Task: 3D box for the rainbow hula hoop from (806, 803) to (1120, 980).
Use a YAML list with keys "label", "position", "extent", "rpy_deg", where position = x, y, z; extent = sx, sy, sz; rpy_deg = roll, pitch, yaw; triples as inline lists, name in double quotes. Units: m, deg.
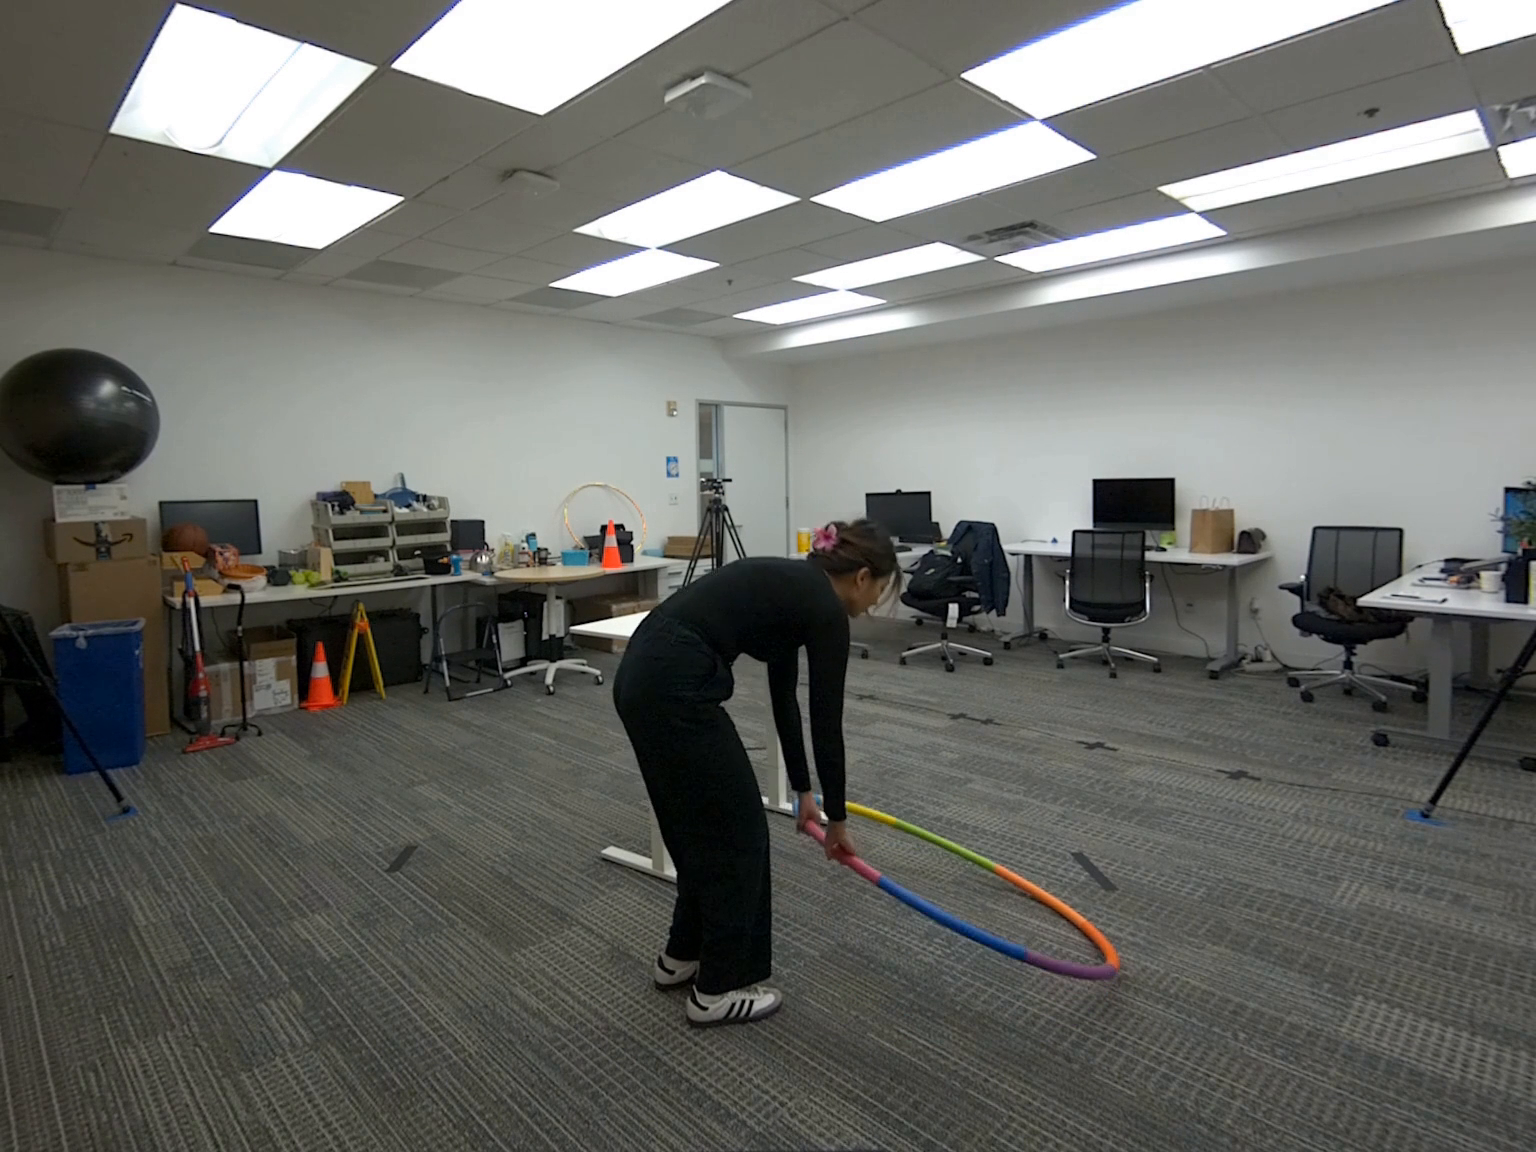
- label: "rainbow hula hoop"
  position: [0.550, 0.886, 2.551]
  extent: [0.979, 0.035, 0.978]
  rpy_deg: [22, -2, -1]
